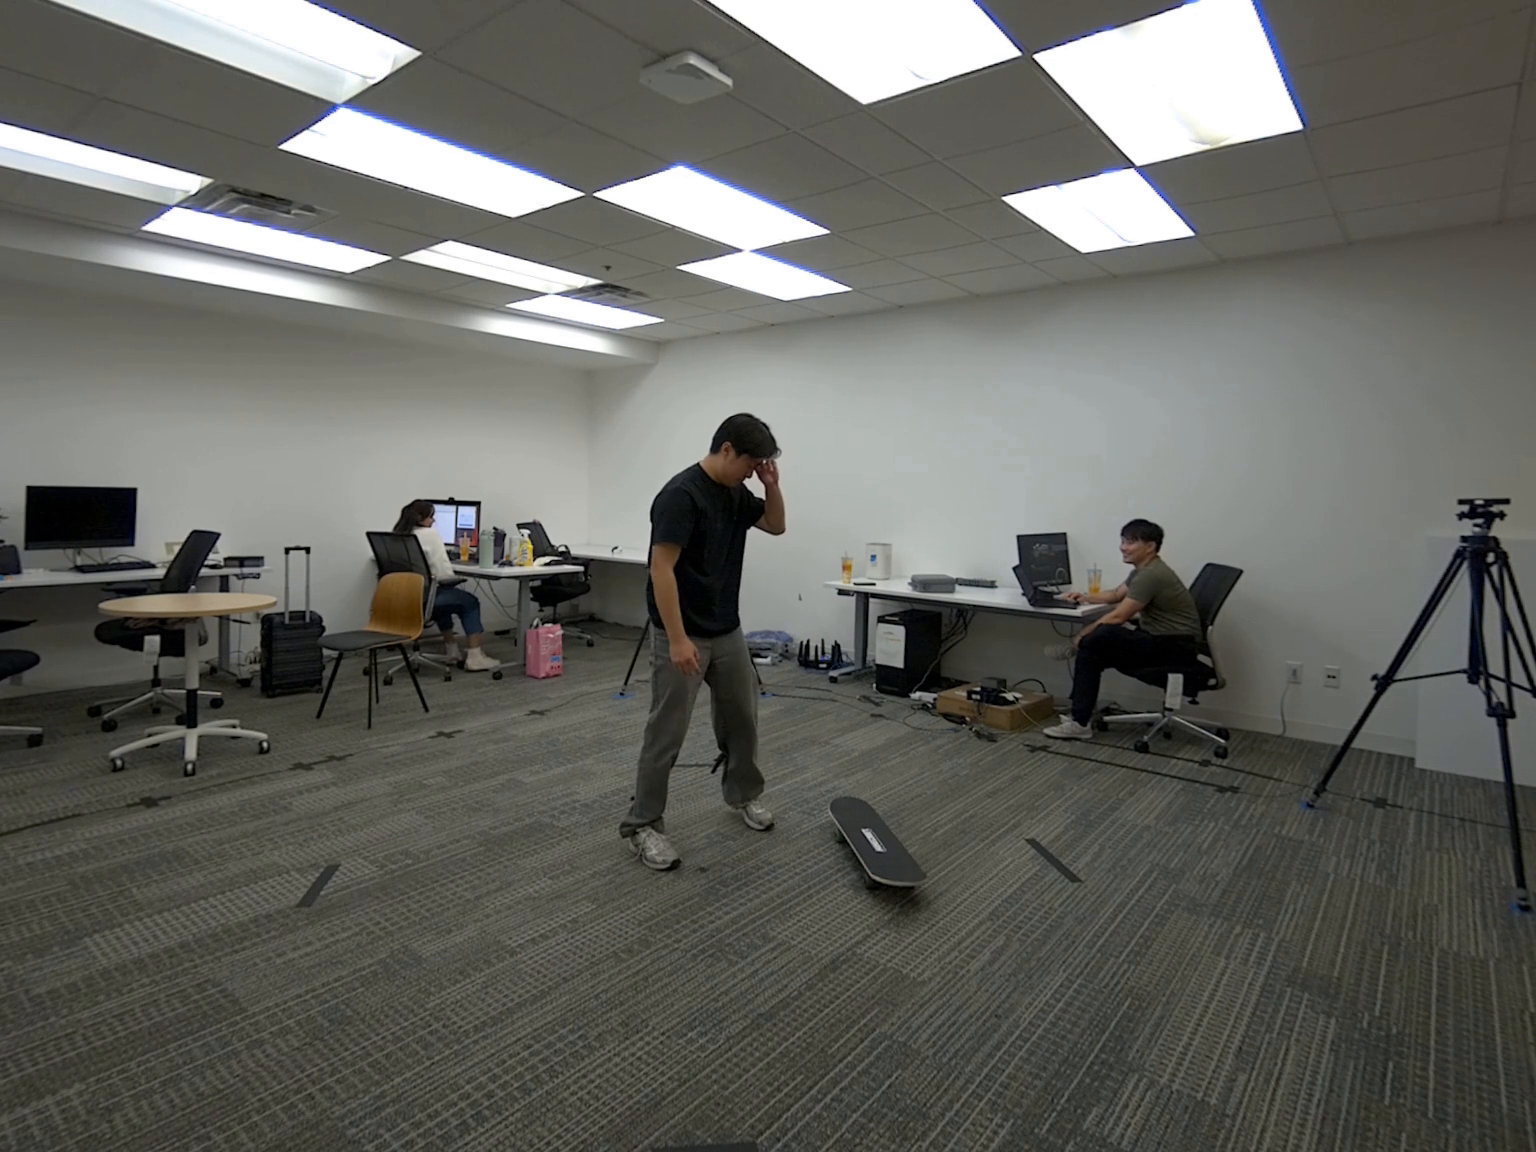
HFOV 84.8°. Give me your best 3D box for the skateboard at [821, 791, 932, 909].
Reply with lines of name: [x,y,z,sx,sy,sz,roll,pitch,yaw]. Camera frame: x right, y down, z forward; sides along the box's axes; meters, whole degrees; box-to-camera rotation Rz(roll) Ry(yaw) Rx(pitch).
skateboard: [0.385,1.011,3.191,0.192,0.110,0.794,1,5,-9]
